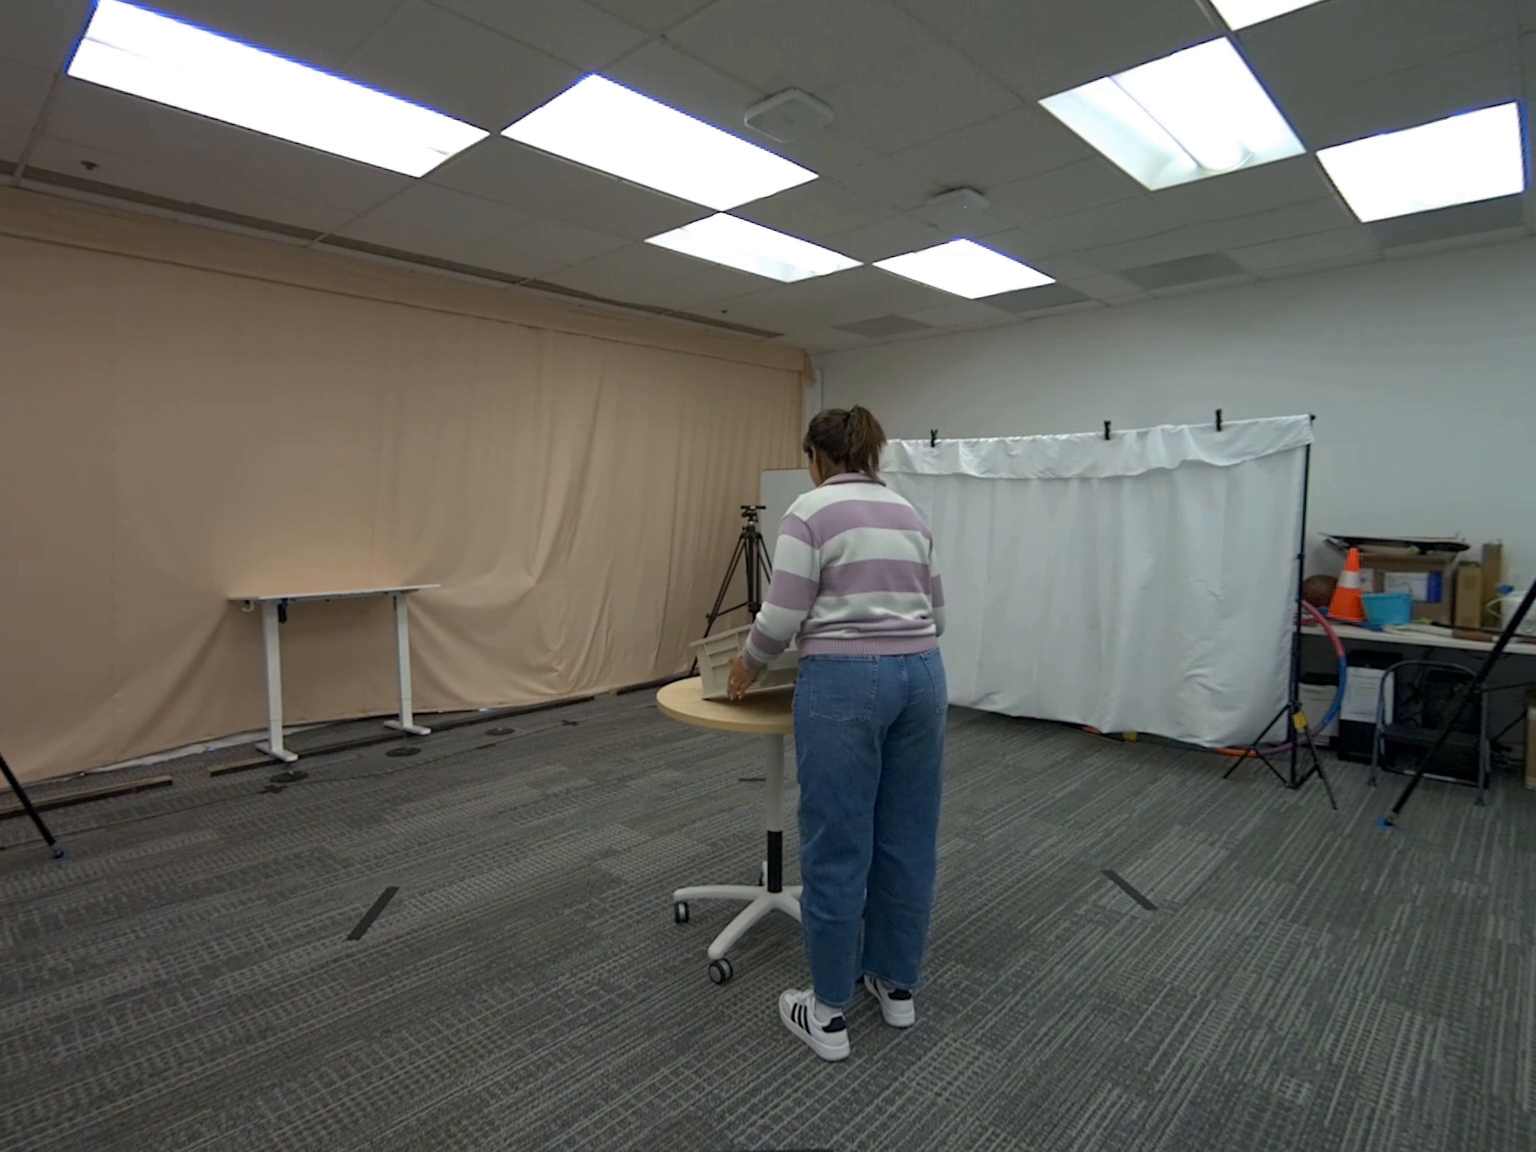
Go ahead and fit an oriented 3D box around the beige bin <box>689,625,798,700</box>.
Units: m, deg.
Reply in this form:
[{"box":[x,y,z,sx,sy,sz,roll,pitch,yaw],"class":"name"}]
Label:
[{"box":[0.034,0.259,2.633,0.410,0.190,0.385,-3,-12,-36],"class":"beige bin"}]
